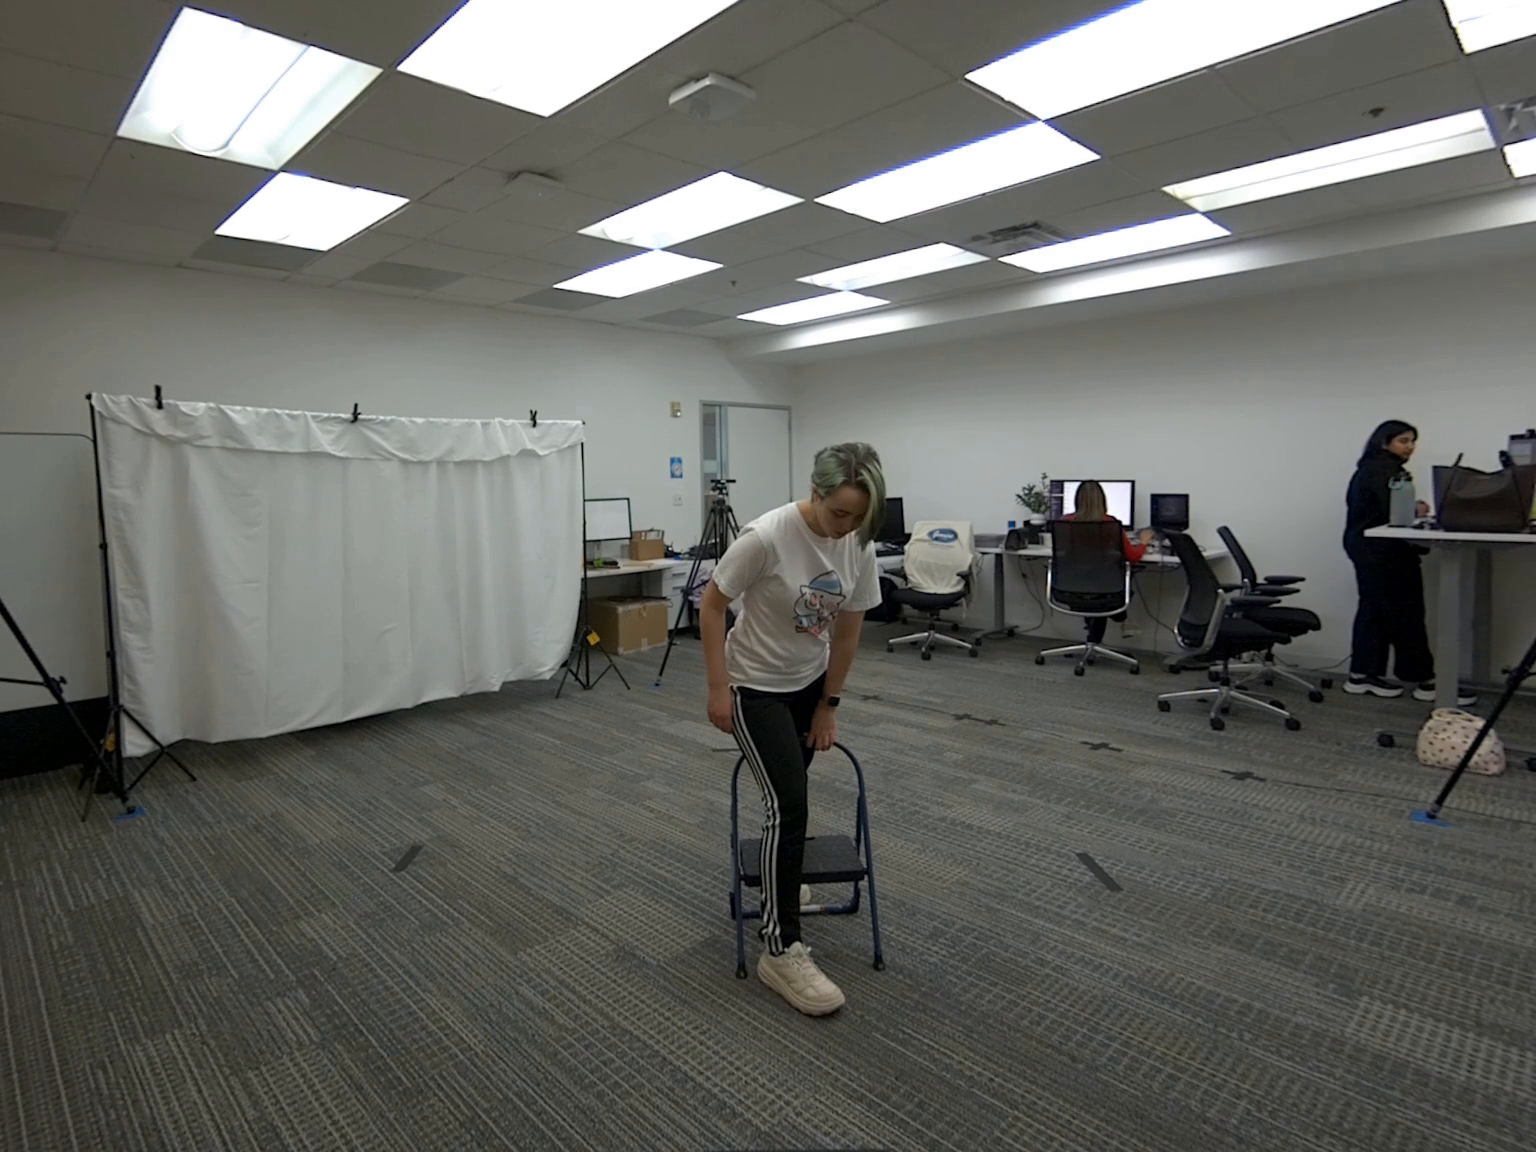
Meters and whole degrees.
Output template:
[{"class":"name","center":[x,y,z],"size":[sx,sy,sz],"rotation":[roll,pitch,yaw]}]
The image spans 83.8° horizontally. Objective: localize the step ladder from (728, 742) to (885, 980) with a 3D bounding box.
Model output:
[{"class":"step ladder","center":[0.104,0.807,2.563],"size":[0.429,0.604,0.352],"rotation":[-1,4,-5]}]
